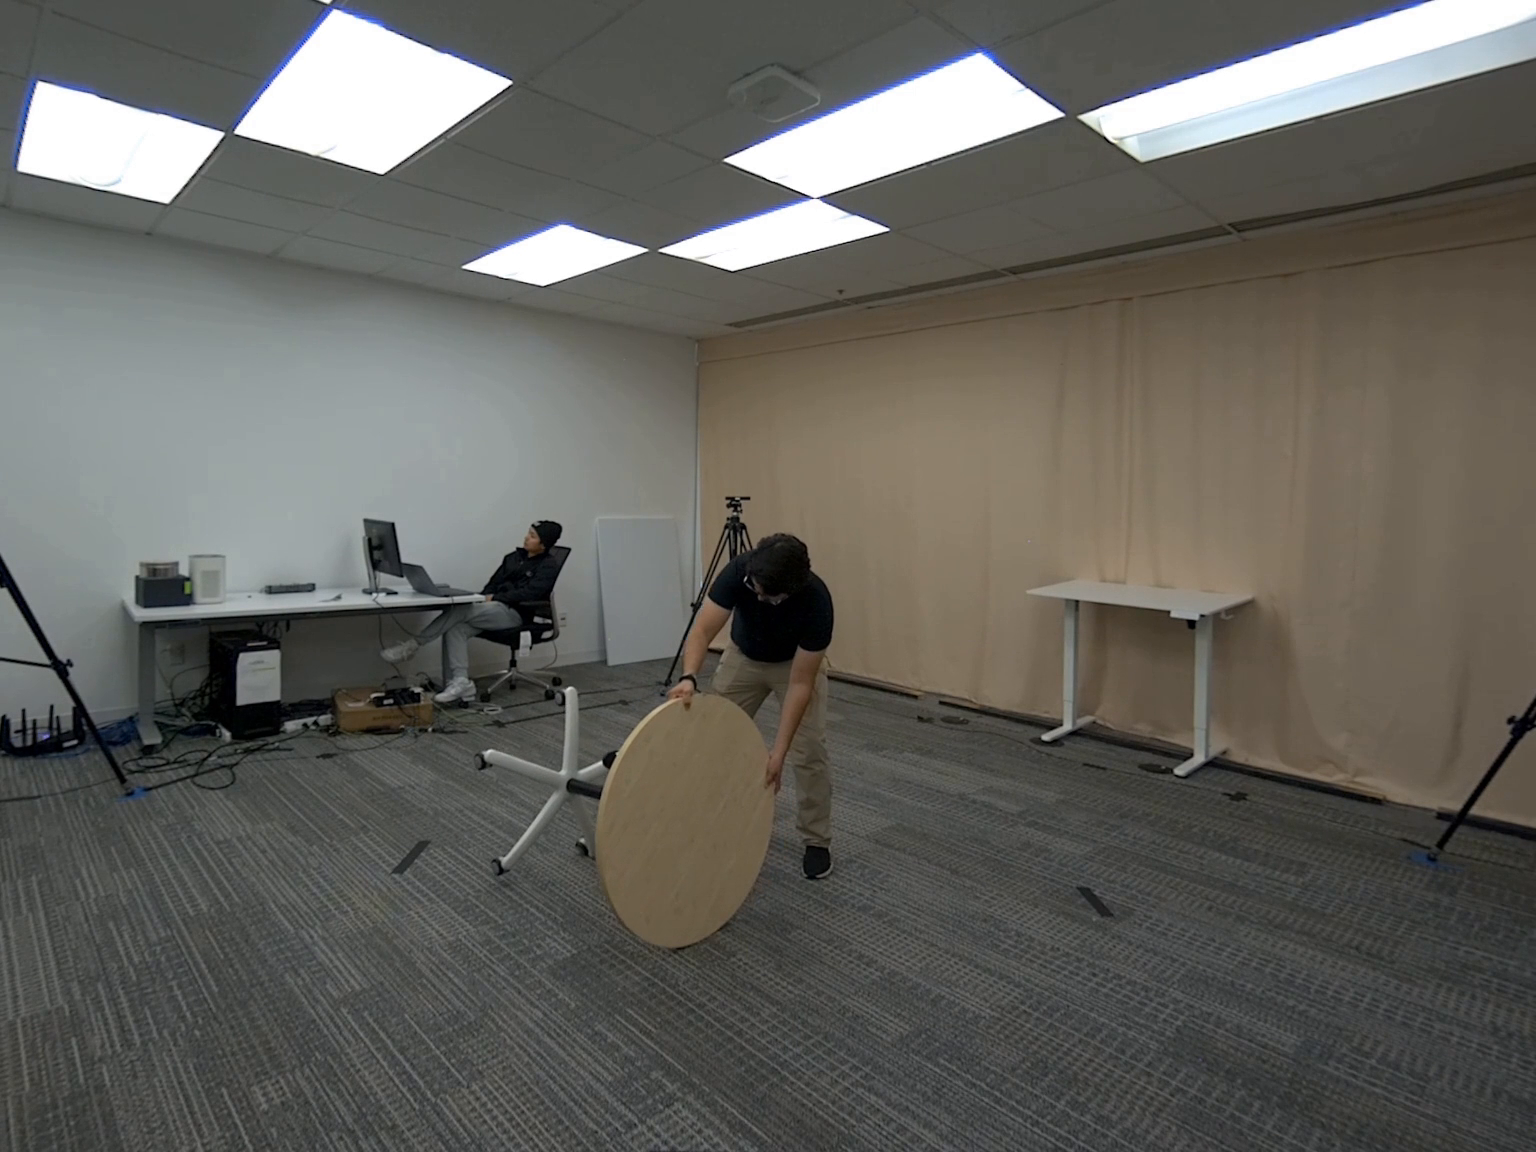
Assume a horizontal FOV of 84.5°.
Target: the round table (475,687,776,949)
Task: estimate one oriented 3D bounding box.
[{"bbox_3d":[-0.538,0.761,2.915,0.804,0.785,0.767,-2,1,41],"label":"round table"}]
